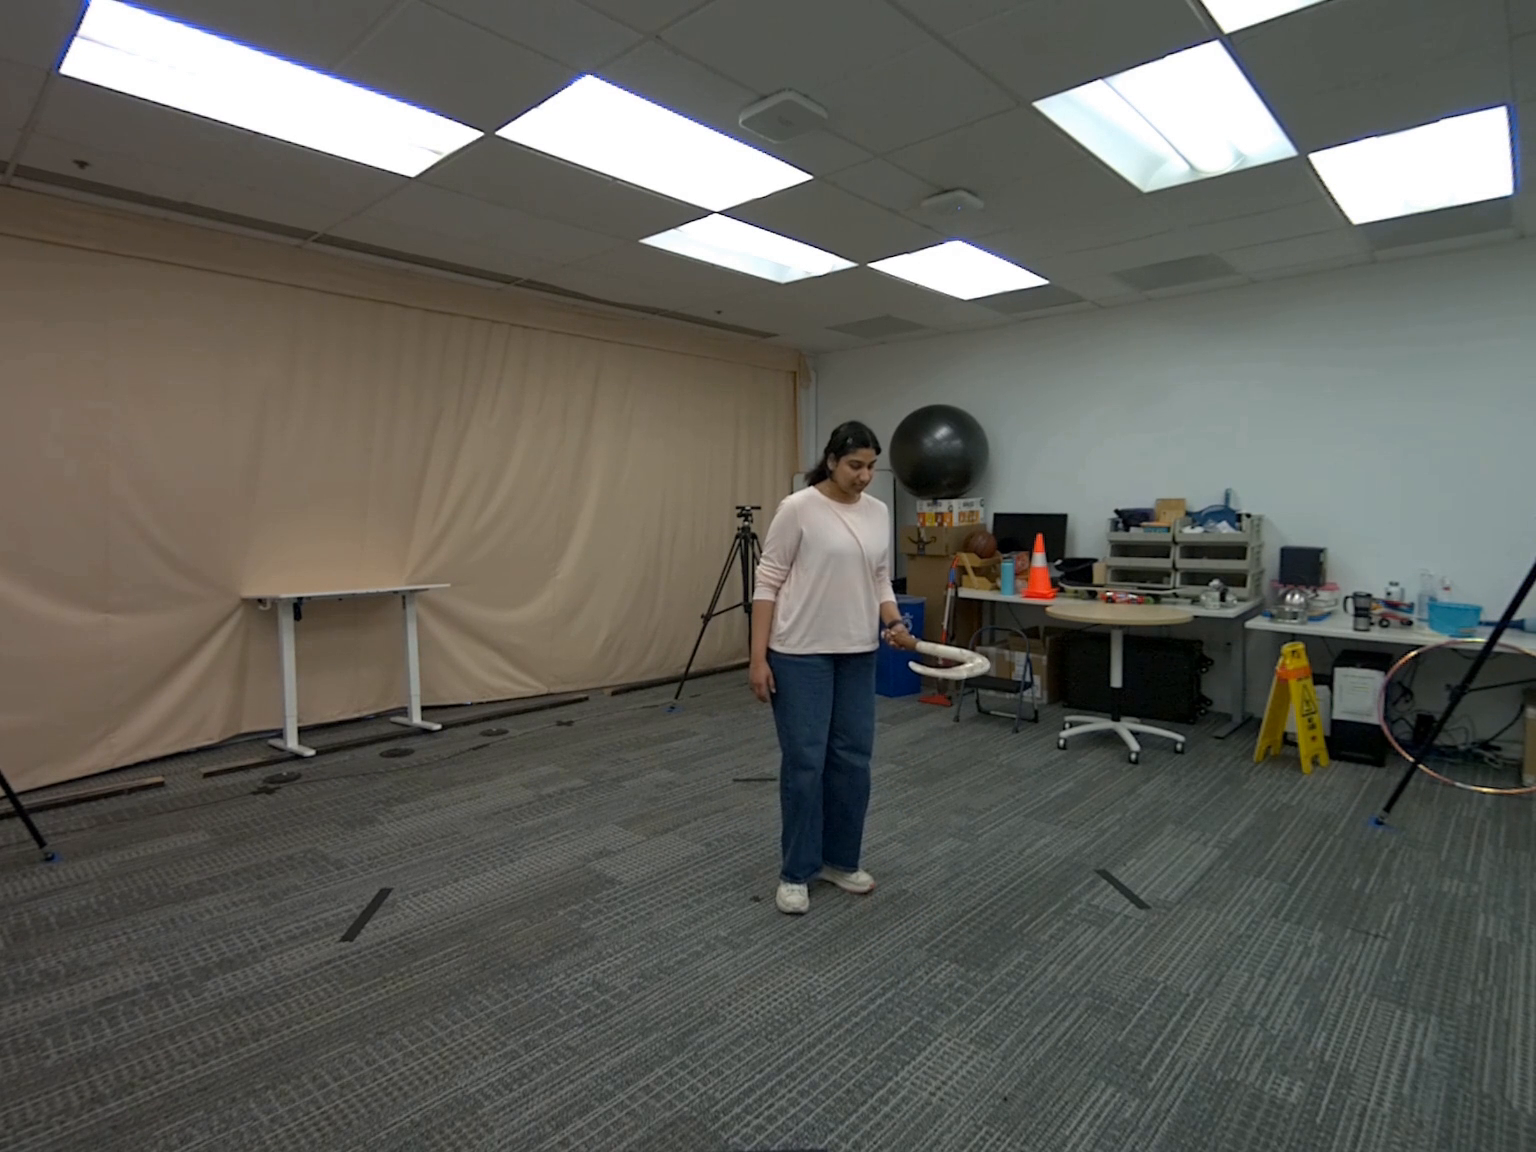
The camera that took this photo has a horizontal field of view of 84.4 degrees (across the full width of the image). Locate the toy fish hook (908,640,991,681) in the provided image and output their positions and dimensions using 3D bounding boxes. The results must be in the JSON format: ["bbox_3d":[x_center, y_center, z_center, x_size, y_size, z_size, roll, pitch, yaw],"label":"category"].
[{"bbox_3d":[0.502,0.253,2.735,0.220,0.048,0.520,-3,10,-24],"label":"toy fish hook"}]
